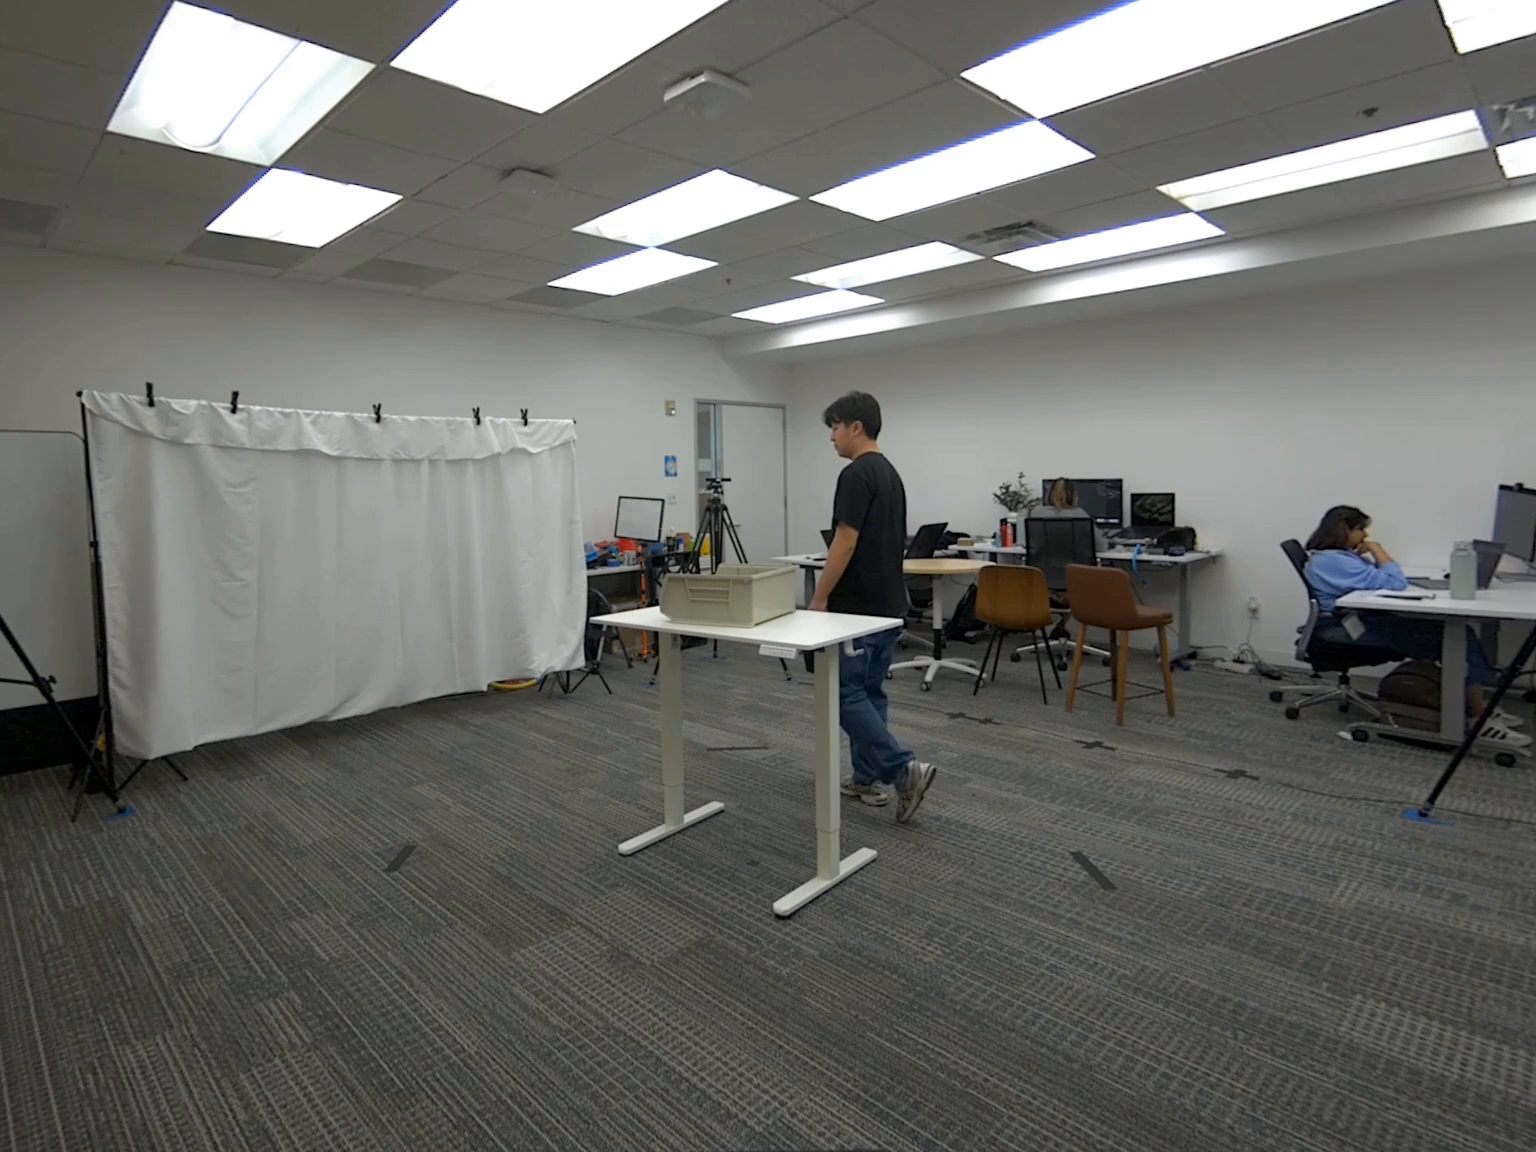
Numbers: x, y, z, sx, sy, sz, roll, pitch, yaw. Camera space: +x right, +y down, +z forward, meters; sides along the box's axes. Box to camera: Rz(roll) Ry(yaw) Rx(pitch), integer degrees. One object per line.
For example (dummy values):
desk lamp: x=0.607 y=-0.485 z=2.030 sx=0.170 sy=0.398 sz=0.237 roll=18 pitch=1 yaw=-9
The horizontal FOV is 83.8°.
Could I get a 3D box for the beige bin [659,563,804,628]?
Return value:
beige bin: x=-0.134 y=0.066 z=3.166 sx=0.387 sy=0.188 sz=0.414 roll=3 pitch=6 yaw=26
